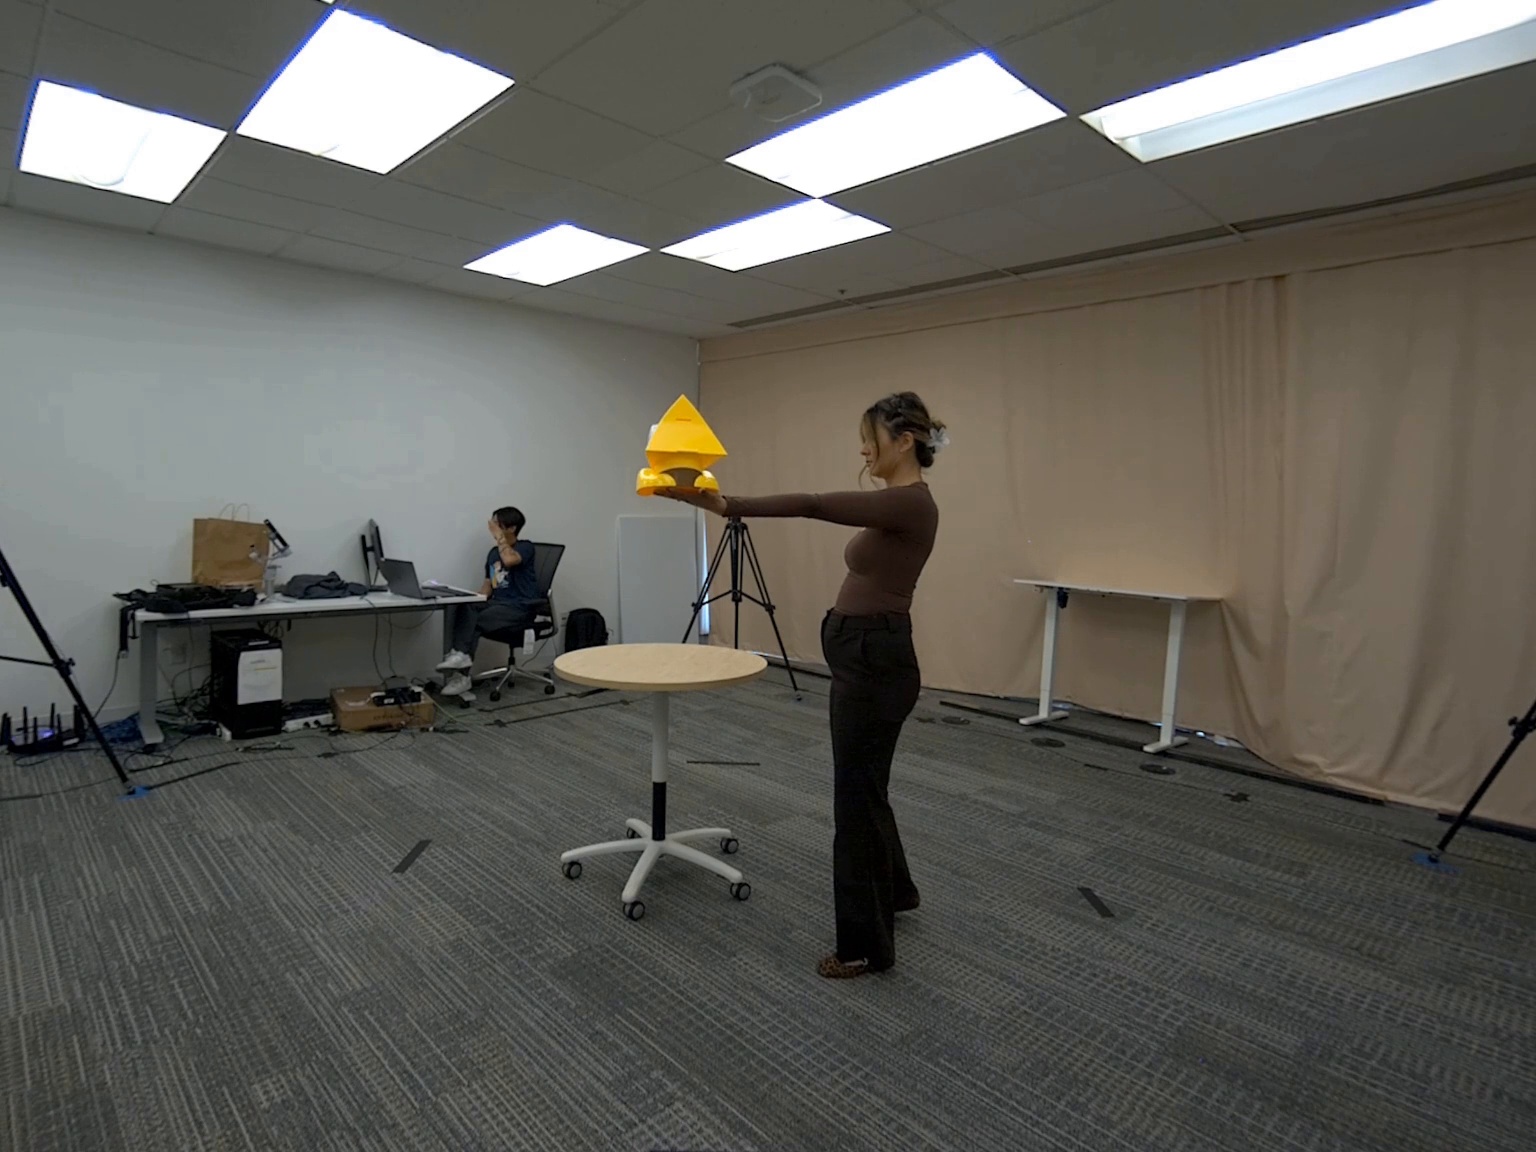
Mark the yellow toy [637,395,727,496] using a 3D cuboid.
[{"bbox_3d":[-0.235,-0.324,2.102,0.201,0.232,0.195,1,-5,-21],"label":"yellow toy"}]
